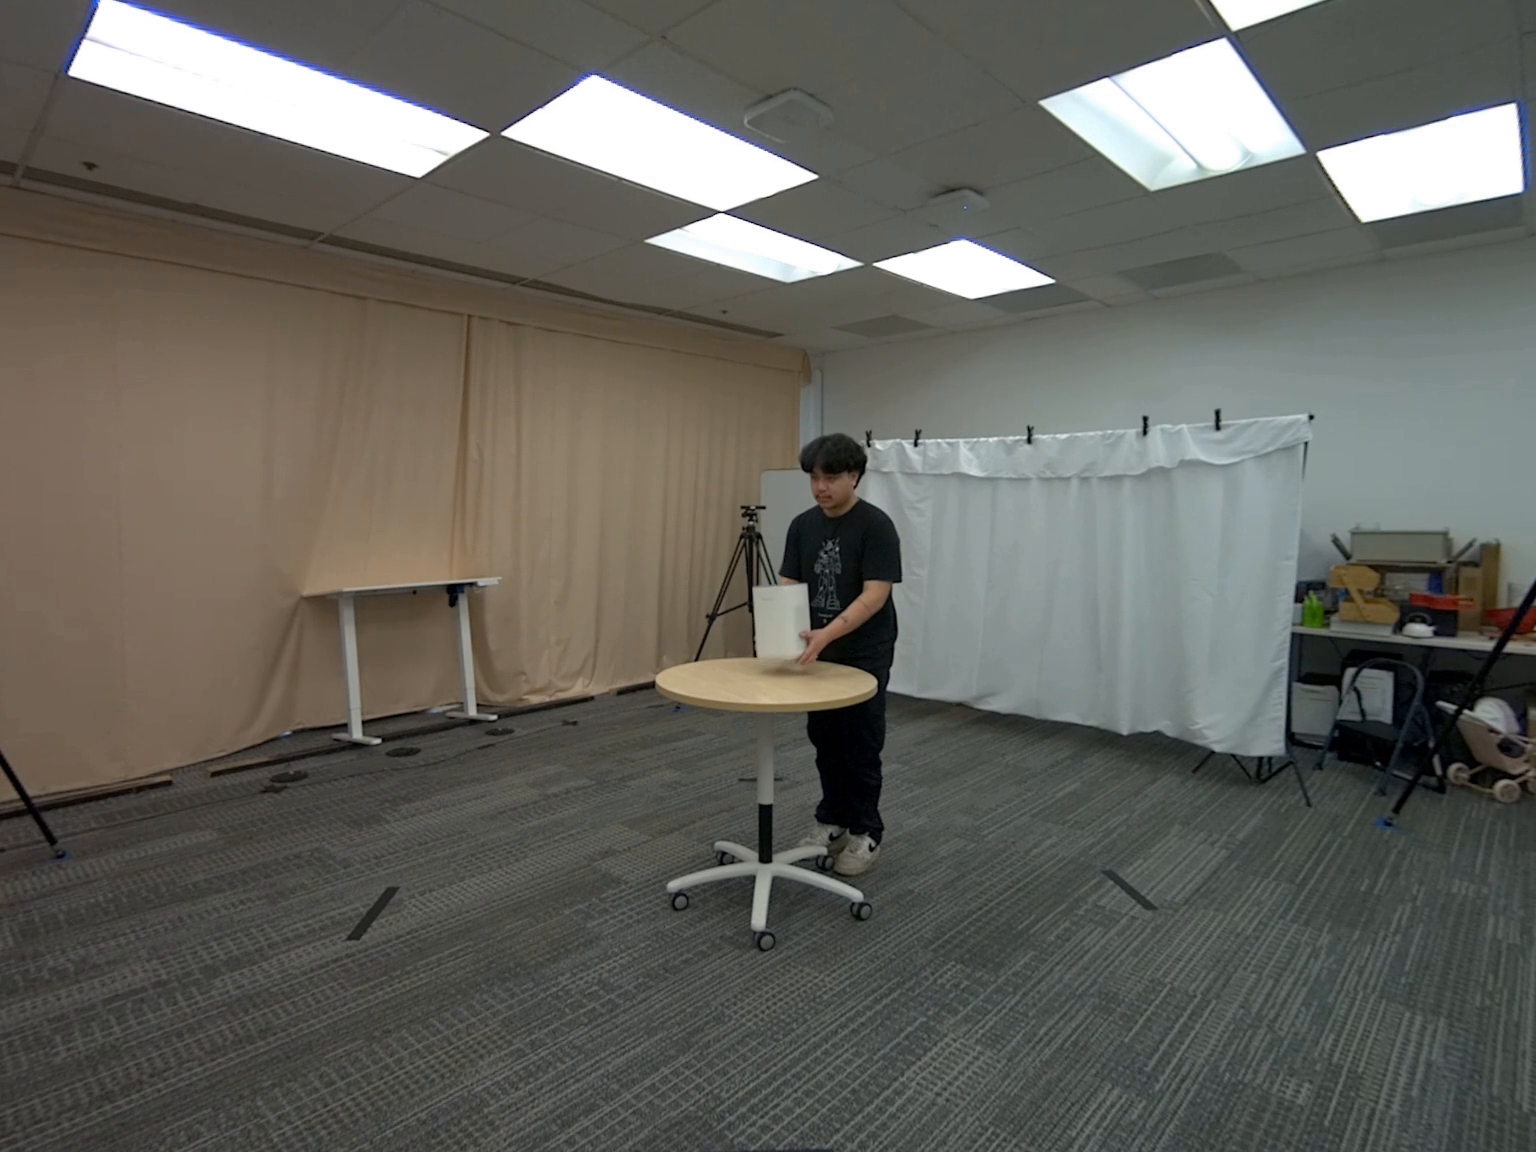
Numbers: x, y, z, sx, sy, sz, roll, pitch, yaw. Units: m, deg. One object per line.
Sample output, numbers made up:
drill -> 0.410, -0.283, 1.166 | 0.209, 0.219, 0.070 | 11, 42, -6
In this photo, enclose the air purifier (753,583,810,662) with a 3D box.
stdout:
air purifier -> 0.057, 0.161, 2.999 | 0.176, 0.266, 0.167 | -4, -2, 31
